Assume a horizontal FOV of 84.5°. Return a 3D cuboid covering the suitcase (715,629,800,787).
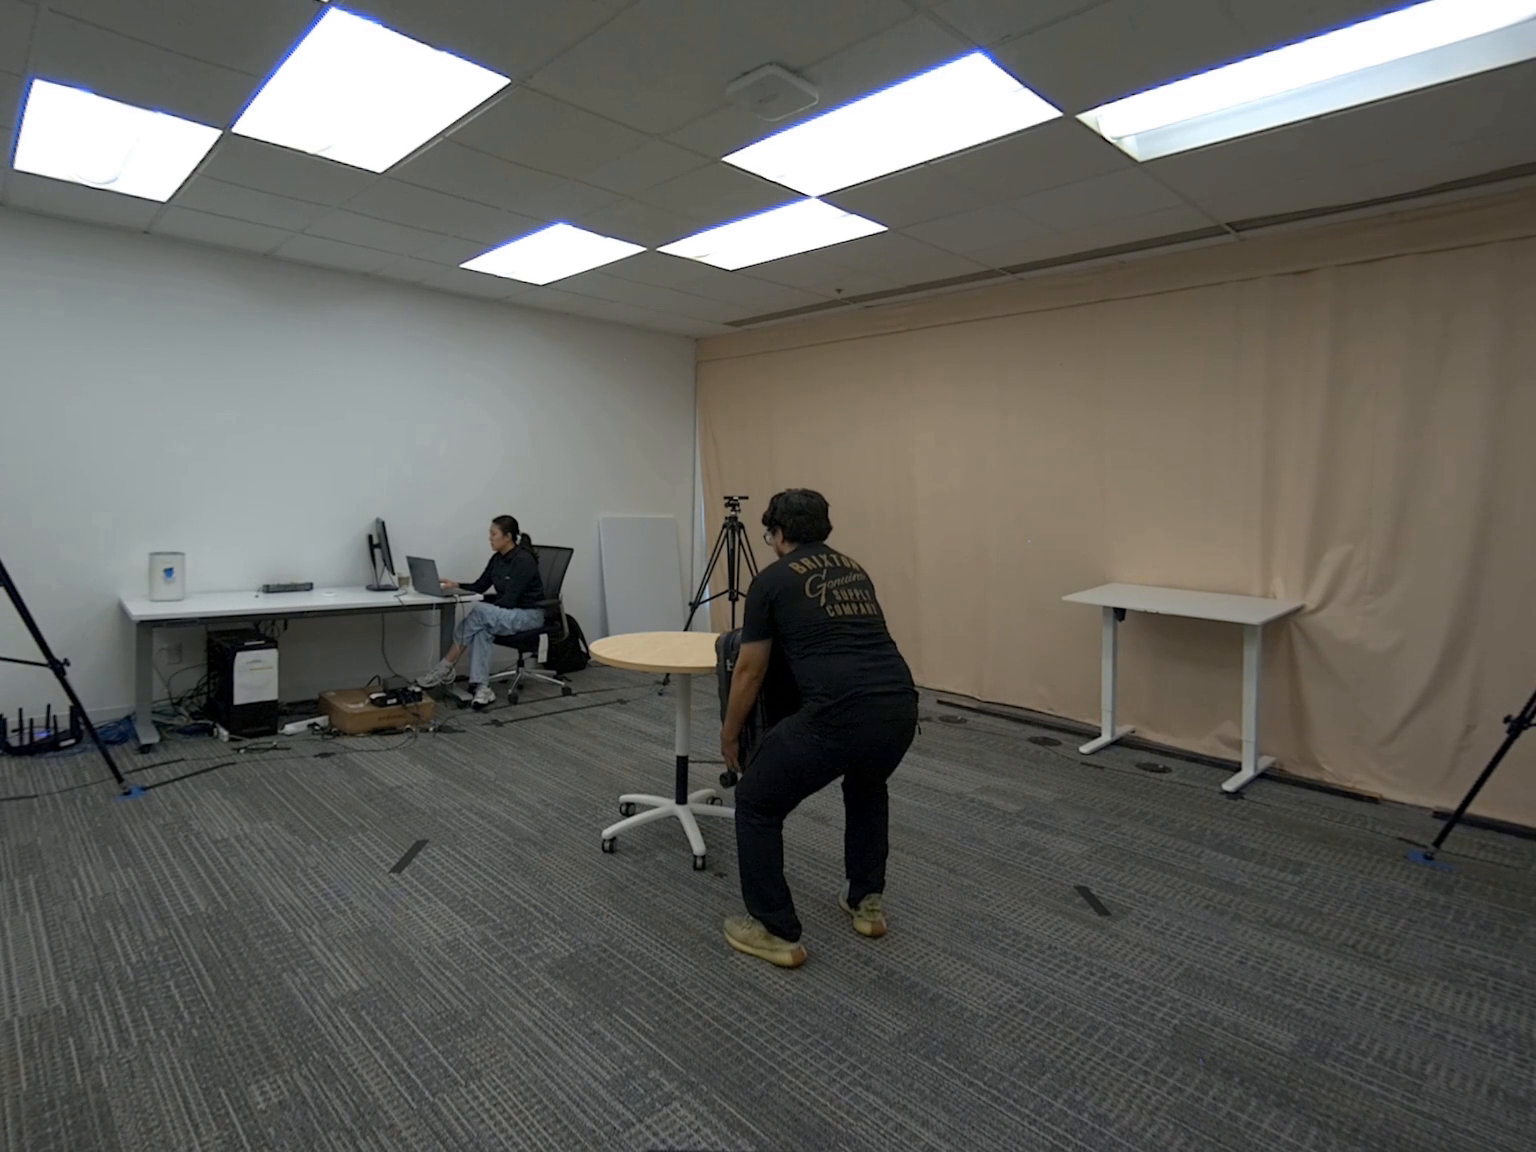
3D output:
[{"bbox_3d":[0.023,0.440,2.913,0.368,0.551,0.253,-2,-3,-31],"label":"suitcase"}]
